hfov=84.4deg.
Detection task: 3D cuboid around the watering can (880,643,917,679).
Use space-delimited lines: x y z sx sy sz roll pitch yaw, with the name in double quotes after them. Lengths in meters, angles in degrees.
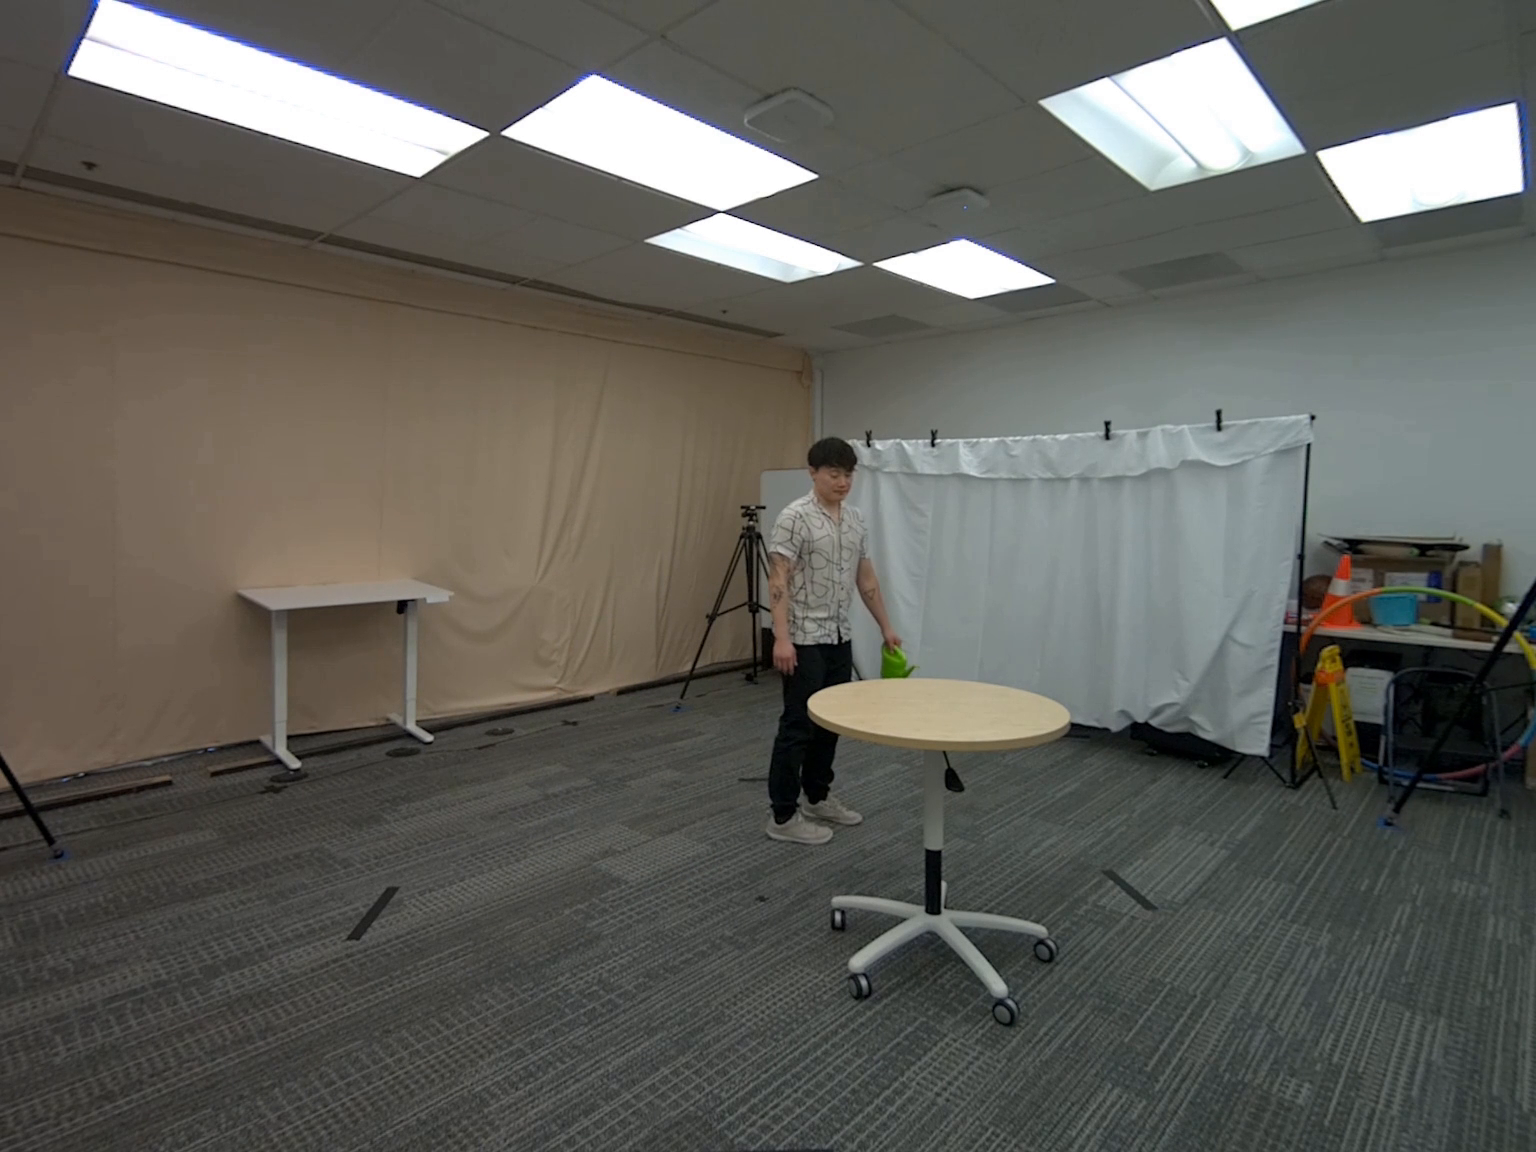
0.556 0.406 3.675 0.097 0.174 0.286 -8 30 -15 "watering can"
